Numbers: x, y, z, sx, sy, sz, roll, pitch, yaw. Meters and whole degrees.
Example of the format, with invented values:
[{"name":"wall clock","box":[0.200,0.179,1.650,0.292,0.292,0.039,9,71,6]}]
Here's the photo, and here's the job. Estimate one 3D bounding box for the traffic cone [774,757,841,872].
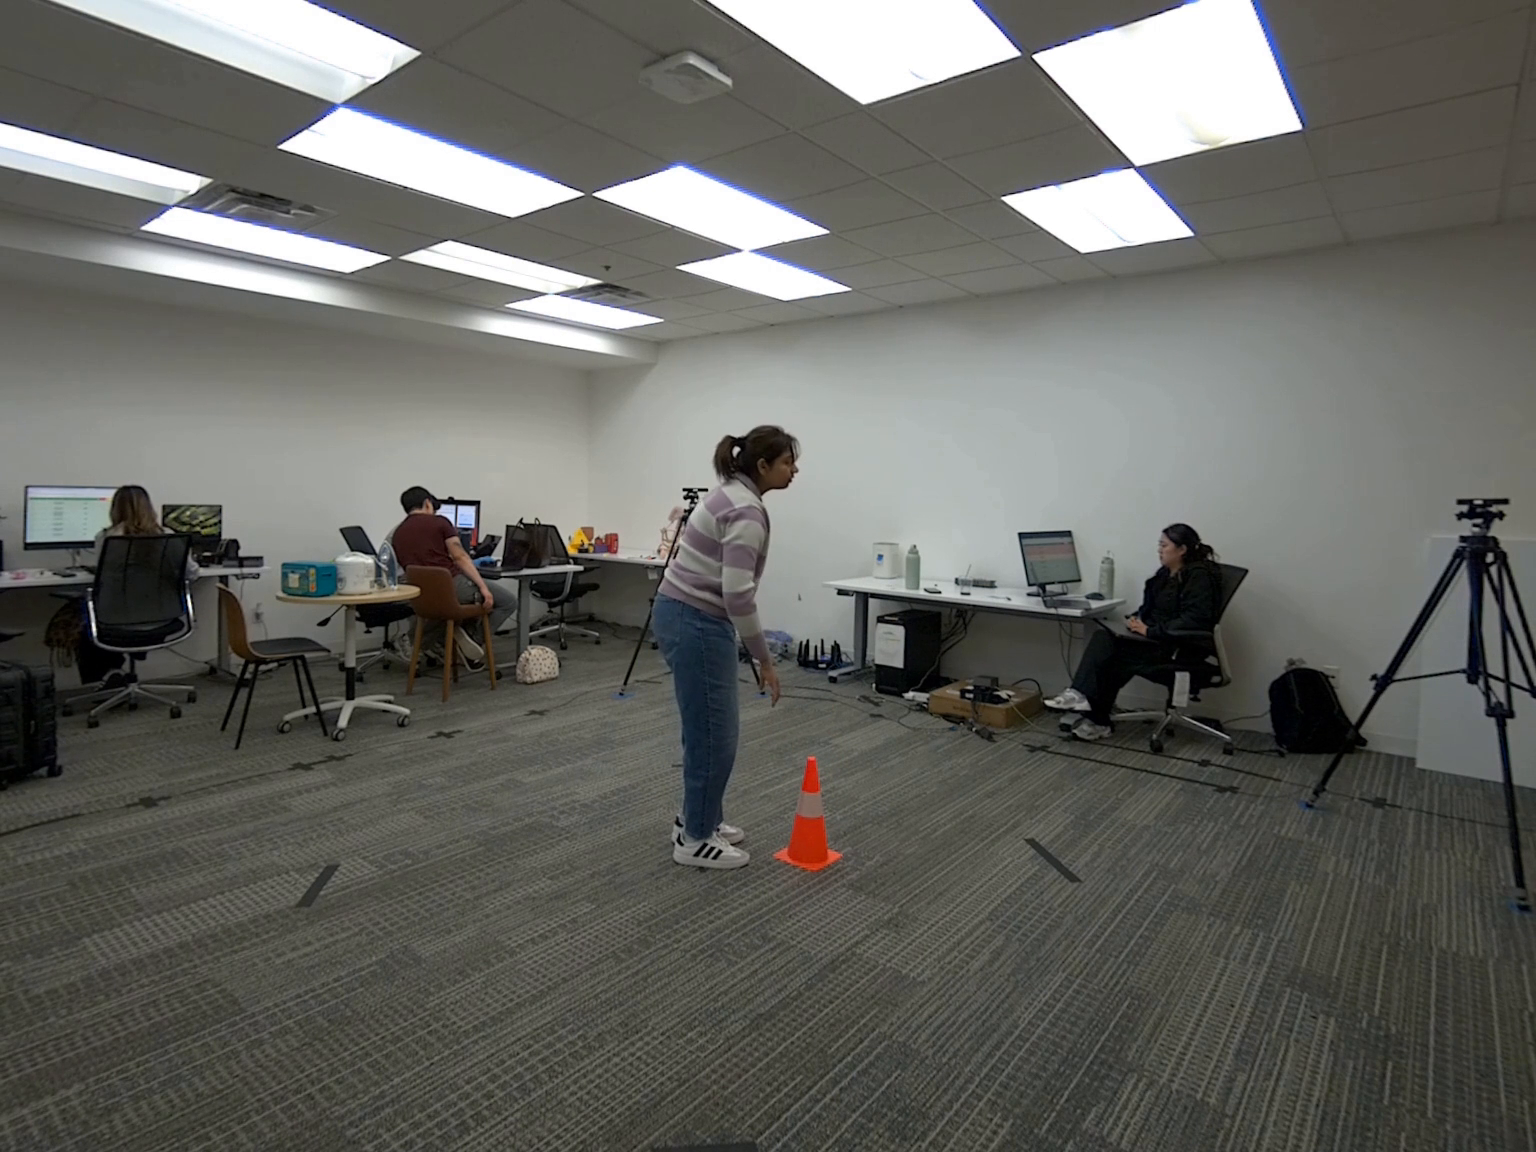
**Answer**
[{"name":"traffic cone","box":[0.146,0.883,3.235,0.210,0.382,0.199,3,4,34]}]
